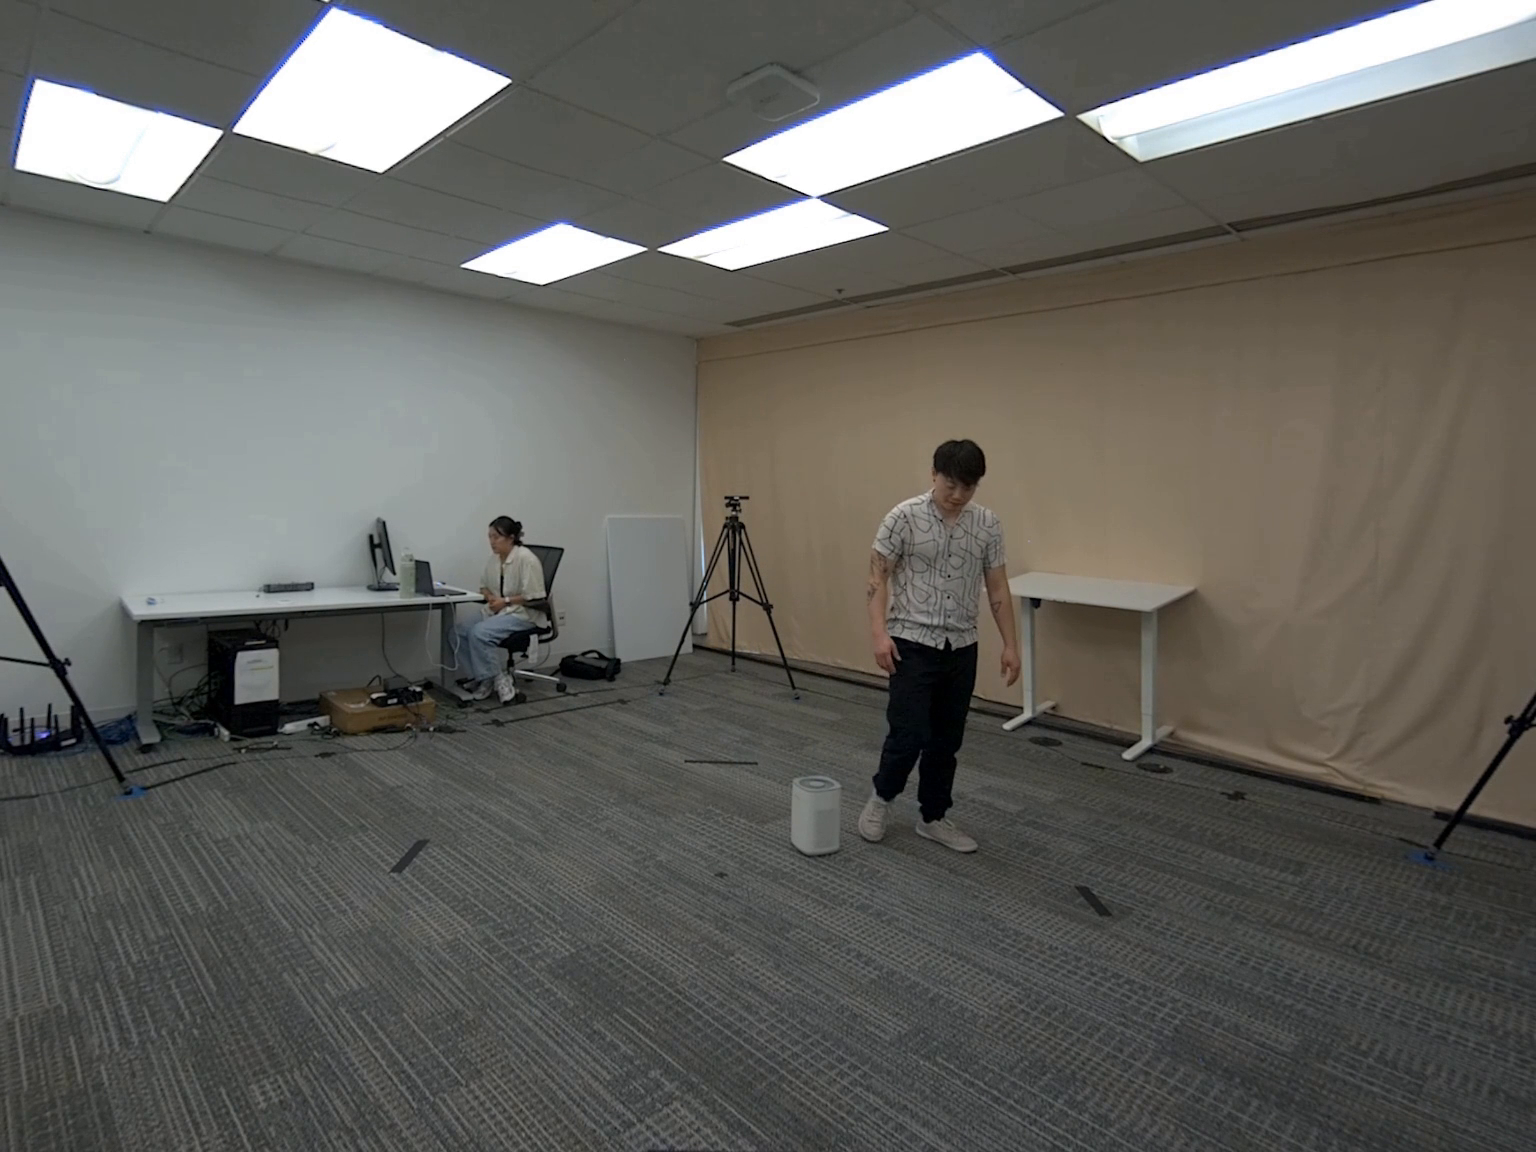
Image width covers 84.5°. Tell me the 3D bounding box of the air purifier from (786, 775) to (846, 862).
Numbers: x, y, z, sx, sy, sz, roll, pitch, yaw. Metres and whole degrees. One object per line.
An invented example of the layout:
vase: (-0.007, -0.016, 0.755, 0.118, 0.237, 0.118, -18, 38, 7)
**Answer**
air purifier: (0.187, 0.955, 3.356, 0.168, 0.265, 0.175, -1, 3, -24)
